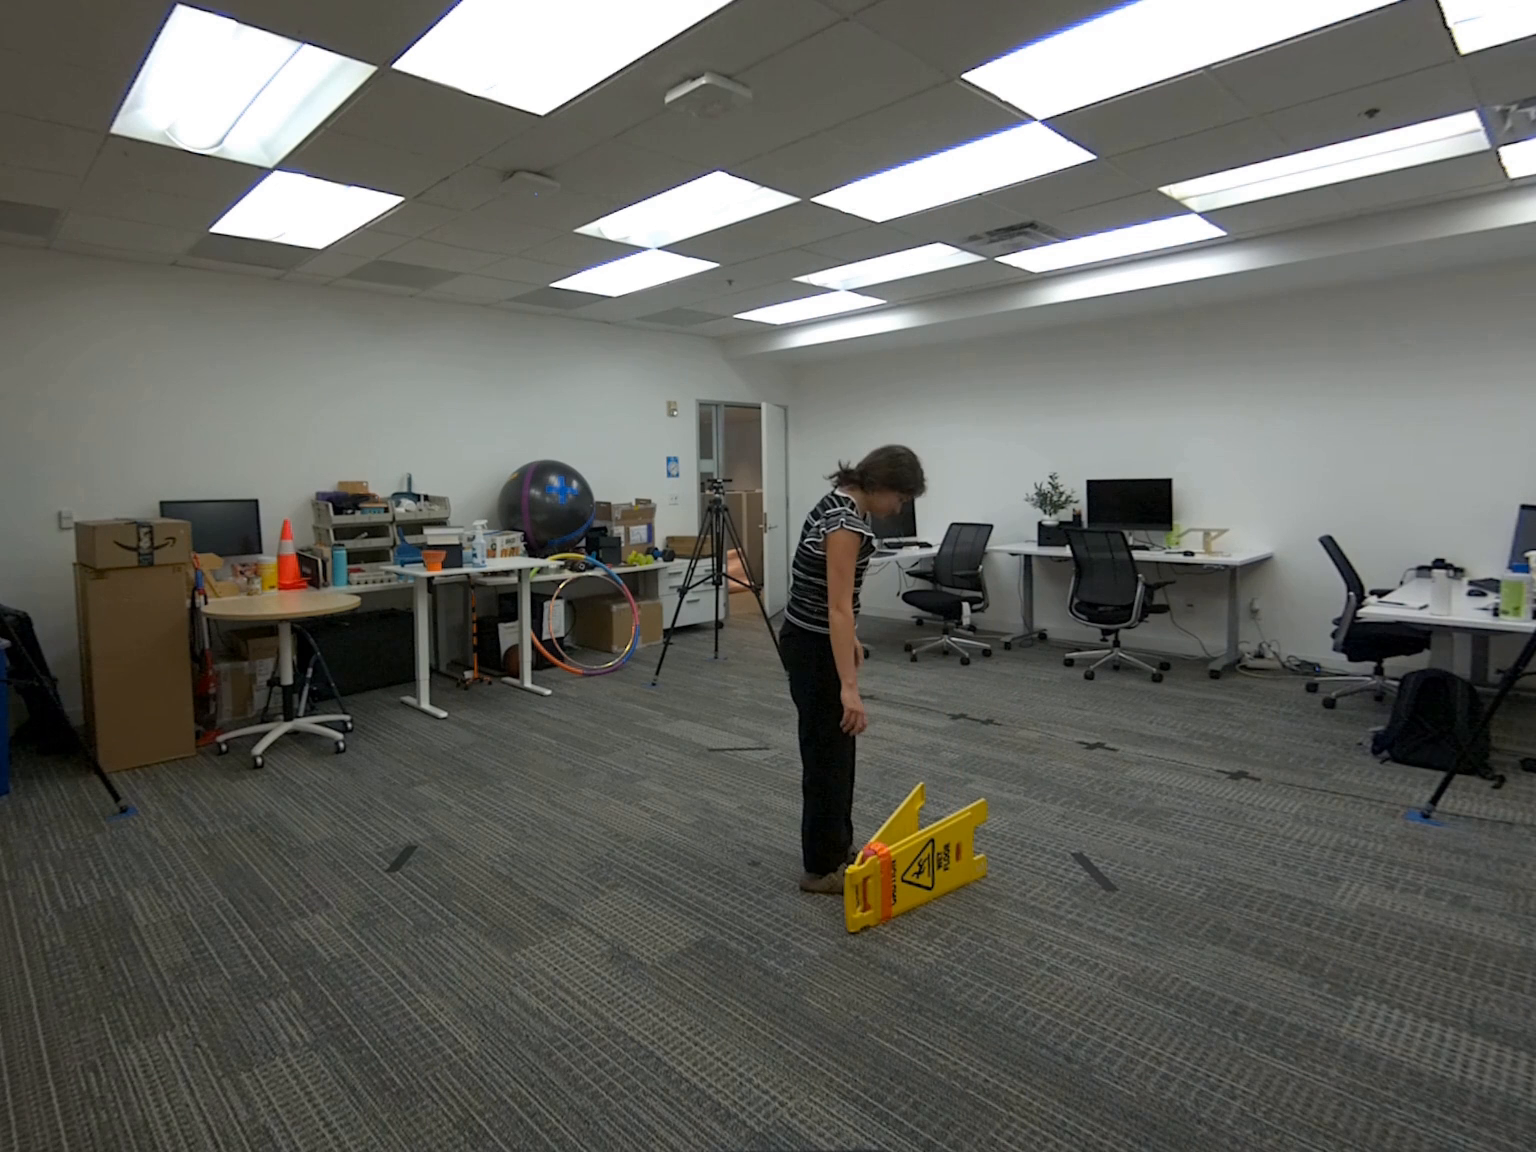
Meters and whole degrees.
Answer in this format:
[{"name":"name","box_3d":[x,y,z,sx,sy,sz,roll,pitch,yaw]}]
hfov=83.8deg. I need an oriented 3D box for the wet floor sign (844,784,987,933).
[{"name":"wet floor sign","box_3d":[0.459,0.943,2.821,0.298,0.280,0.631,4,11,40]}]
